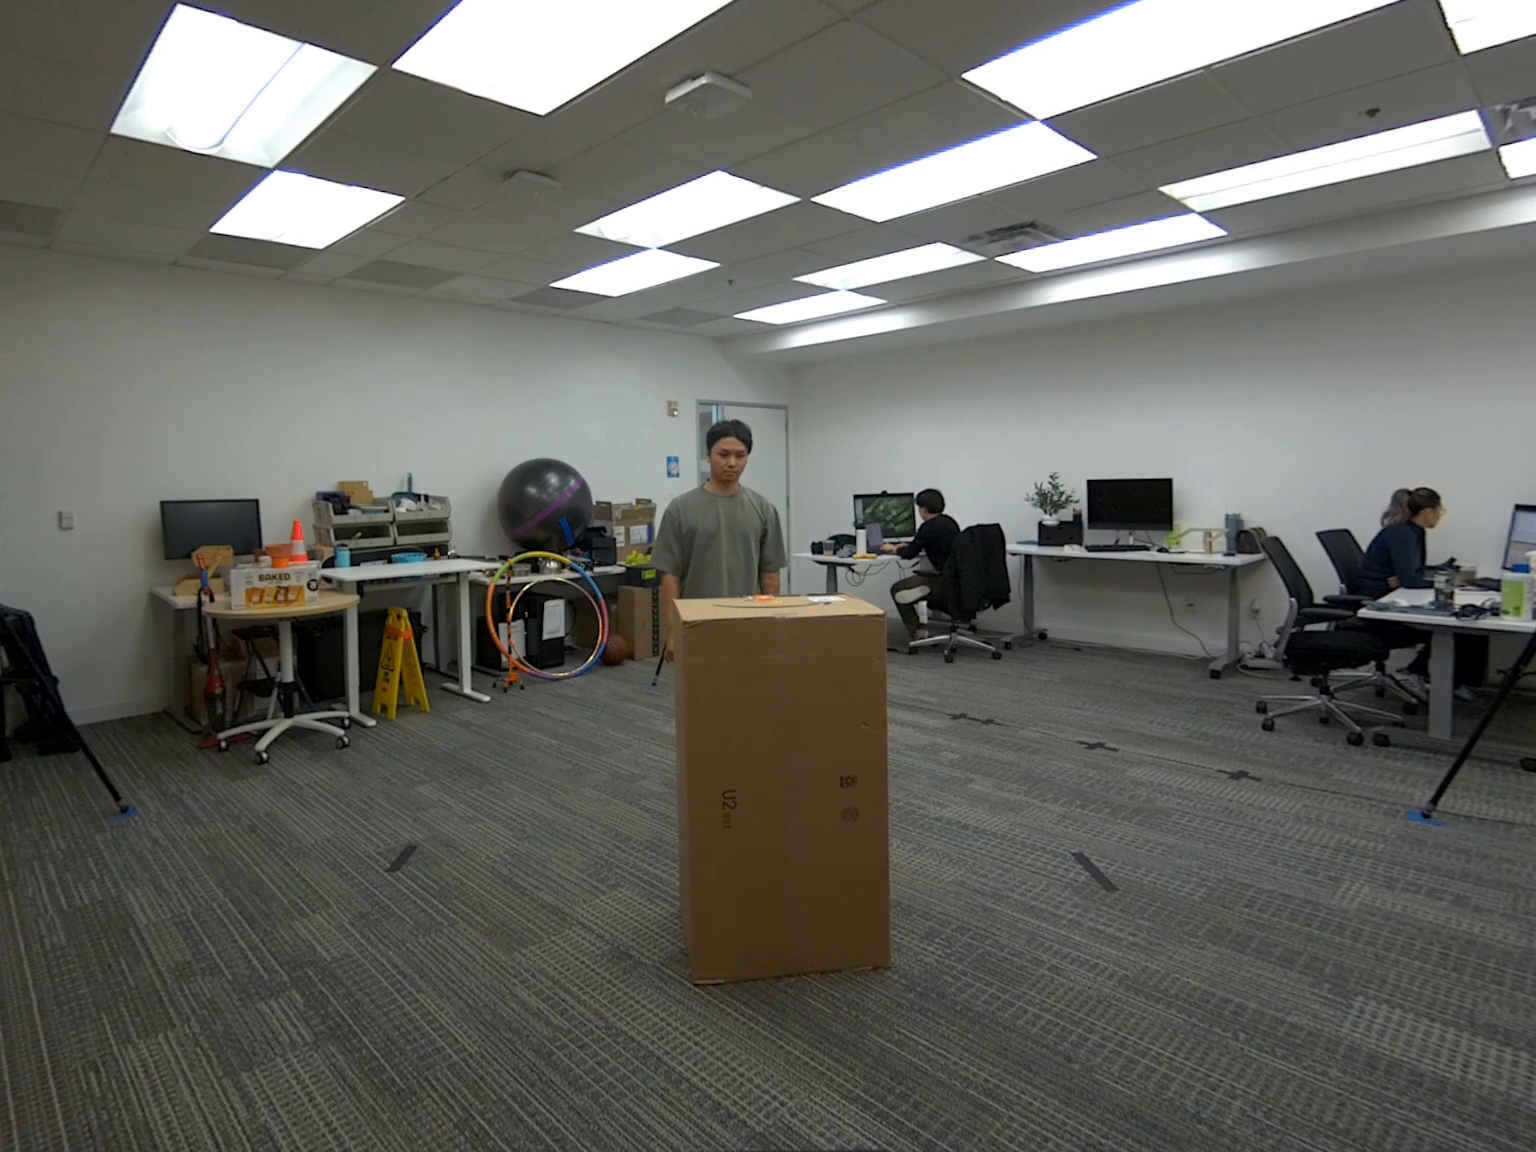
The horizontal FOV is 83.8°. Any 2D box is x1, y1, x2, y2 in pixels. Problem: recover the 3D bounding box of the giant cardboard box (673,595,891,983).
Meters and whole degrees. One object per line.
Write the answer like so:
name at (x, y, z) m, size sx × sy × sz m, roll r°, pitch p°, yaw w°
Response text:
giant cardboard box at (0.023, 0.599, 2.572) m, size 0.573 × 1.022 × 0.431 m, roll -1°, pitch 5°, yaw -8°
